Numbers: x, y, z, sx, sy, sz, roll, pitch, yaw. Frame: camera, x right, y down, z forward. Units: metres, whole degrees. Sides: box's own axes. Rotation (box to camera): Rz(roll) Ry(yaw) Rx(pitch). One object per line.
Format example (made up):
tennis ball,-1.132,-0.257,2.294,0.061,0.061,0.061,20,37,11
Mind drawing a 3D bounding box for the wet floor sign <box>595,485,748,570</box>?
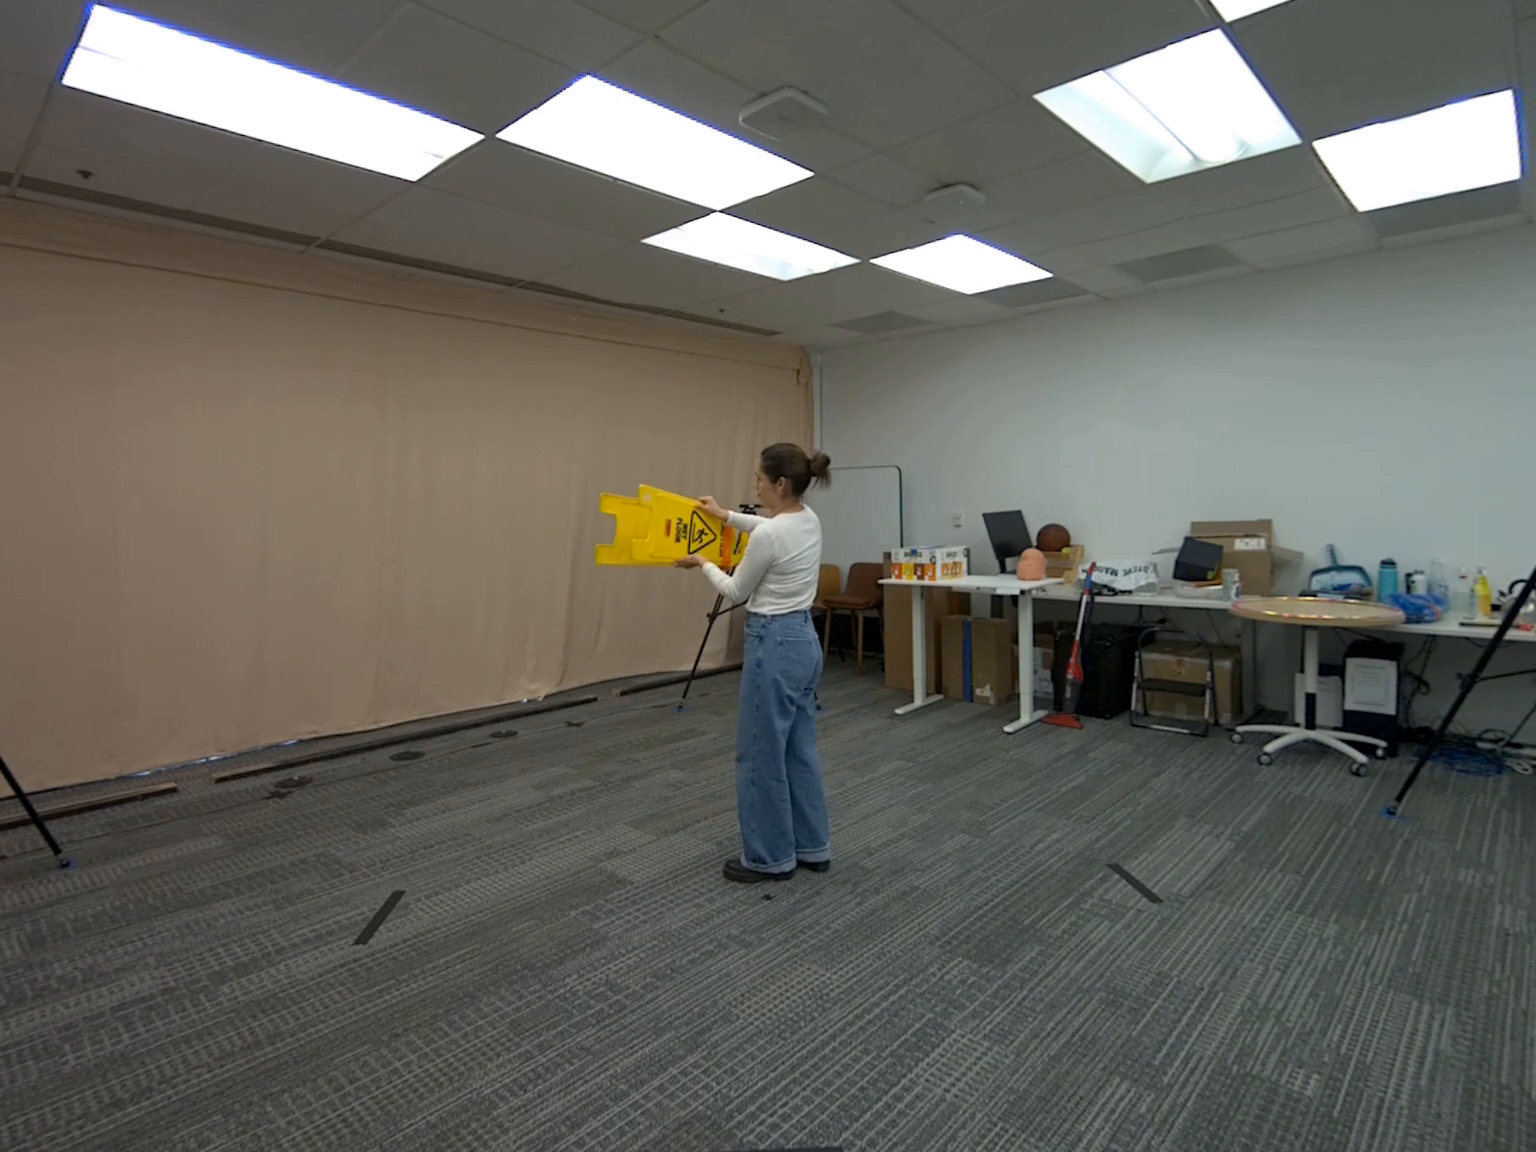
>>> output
wet floor sign,-0.325,-0.163,3.378,0.625,0.283,0.298,6,-6,-37
